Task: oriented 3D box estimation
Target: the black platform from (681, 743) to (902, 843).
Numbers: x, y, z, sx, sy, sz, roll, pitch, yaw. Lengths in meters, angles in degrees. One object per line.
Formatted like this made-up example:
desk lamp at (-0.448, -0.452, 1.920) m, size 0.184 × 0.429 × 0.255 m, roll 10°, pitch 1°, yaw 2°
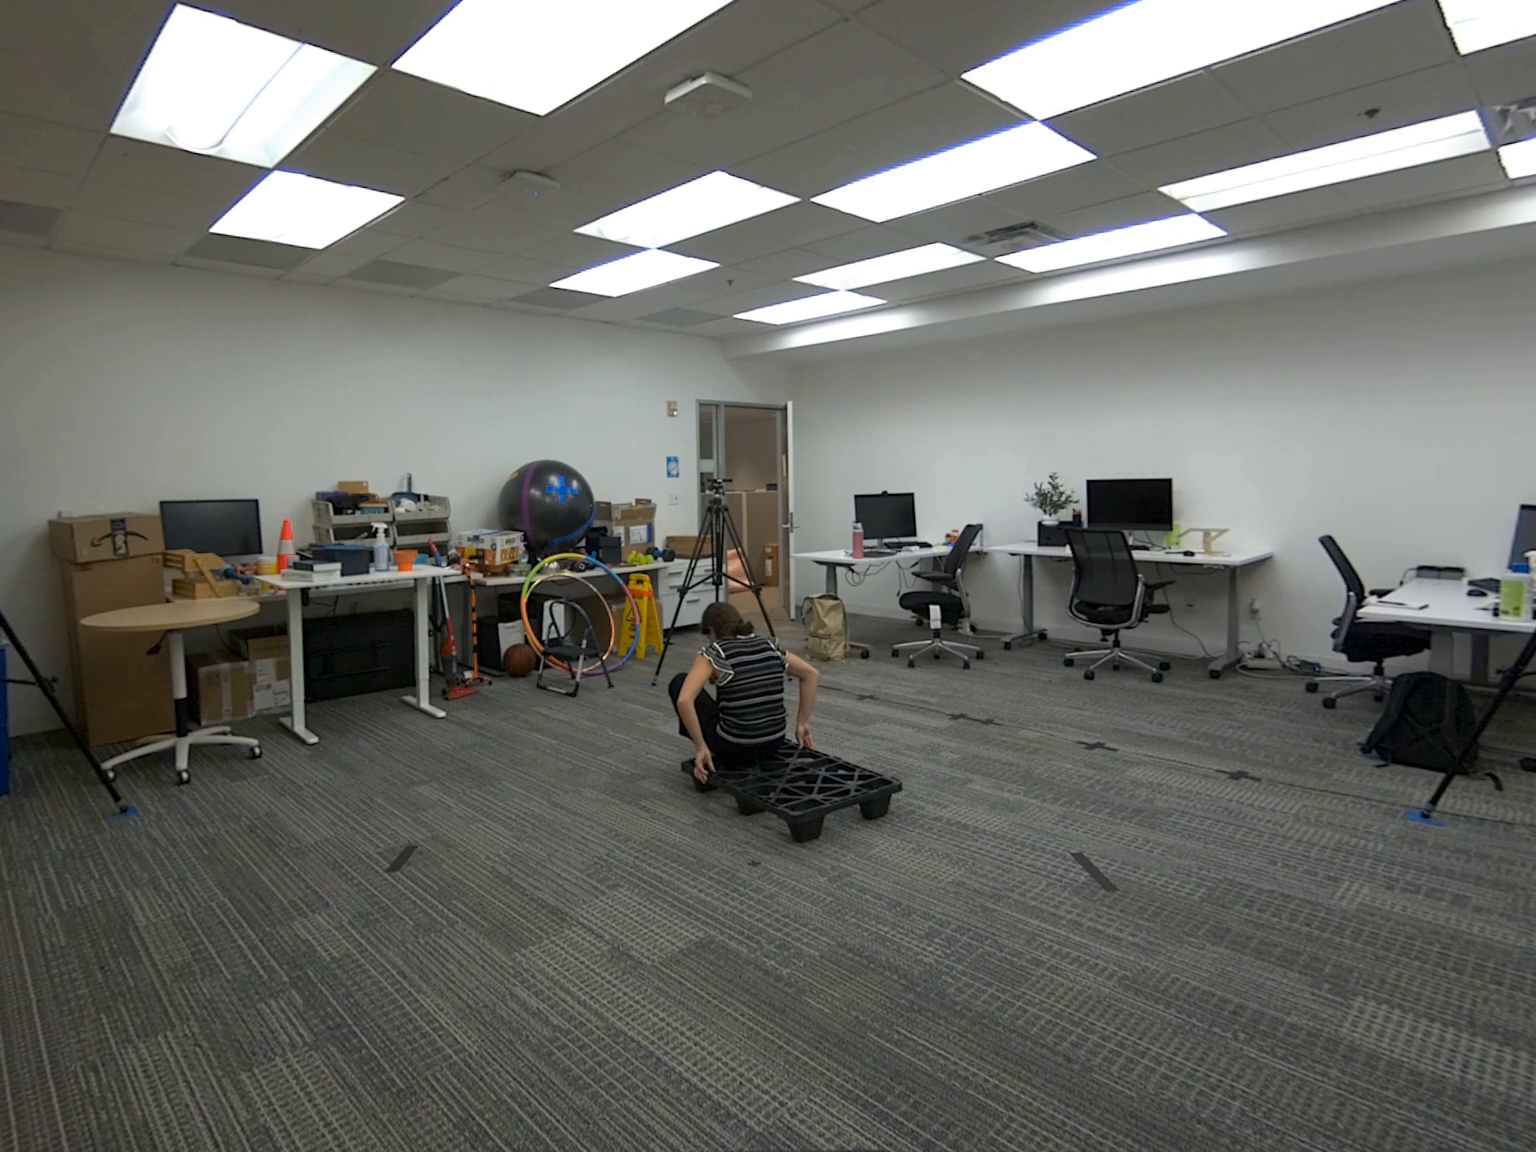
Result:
black platform at (0.083, 0.907, 3.696) m, size 0.589 × 0.143 × 0.830 m, roll -4°, pitch 7°, yaw -37°
